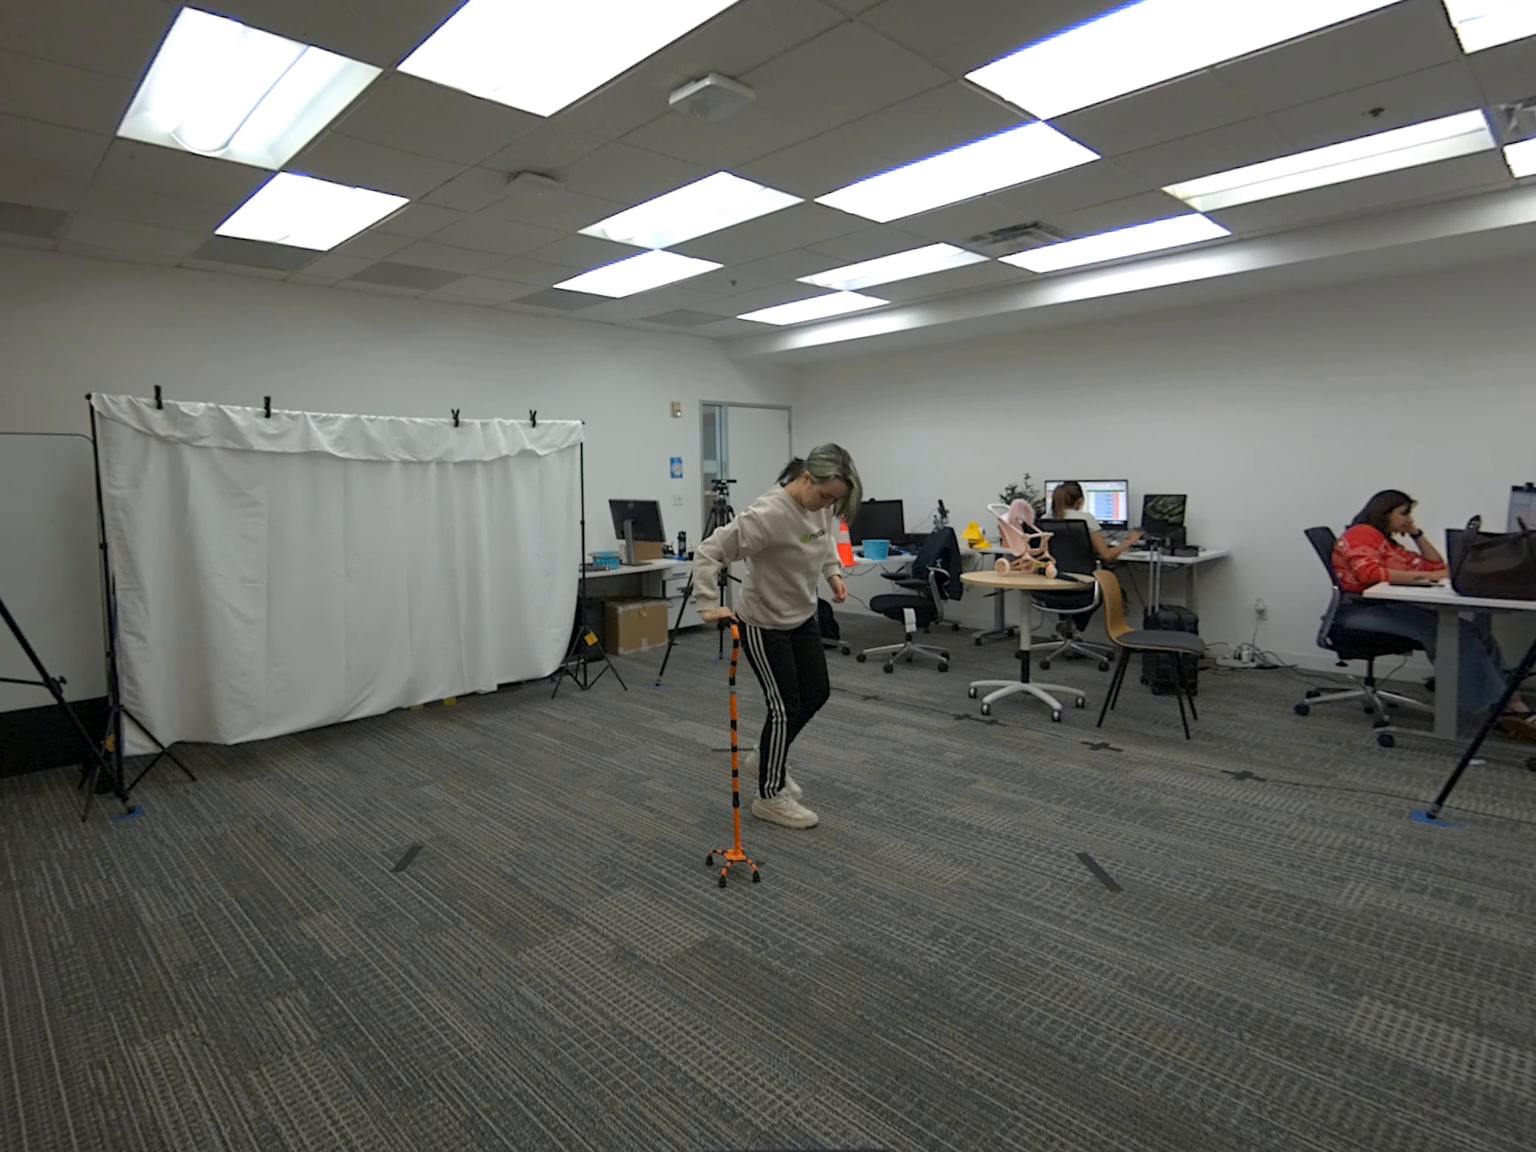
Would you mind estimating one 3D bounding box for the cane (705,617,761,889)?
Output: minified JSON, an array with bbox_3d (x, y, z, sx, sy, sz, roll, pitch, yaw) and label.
[{"bbox_3d":[-0.137,0.608,3.020,0.149,0.905,0.210,-2,3,-18],"label":"cane"}]
